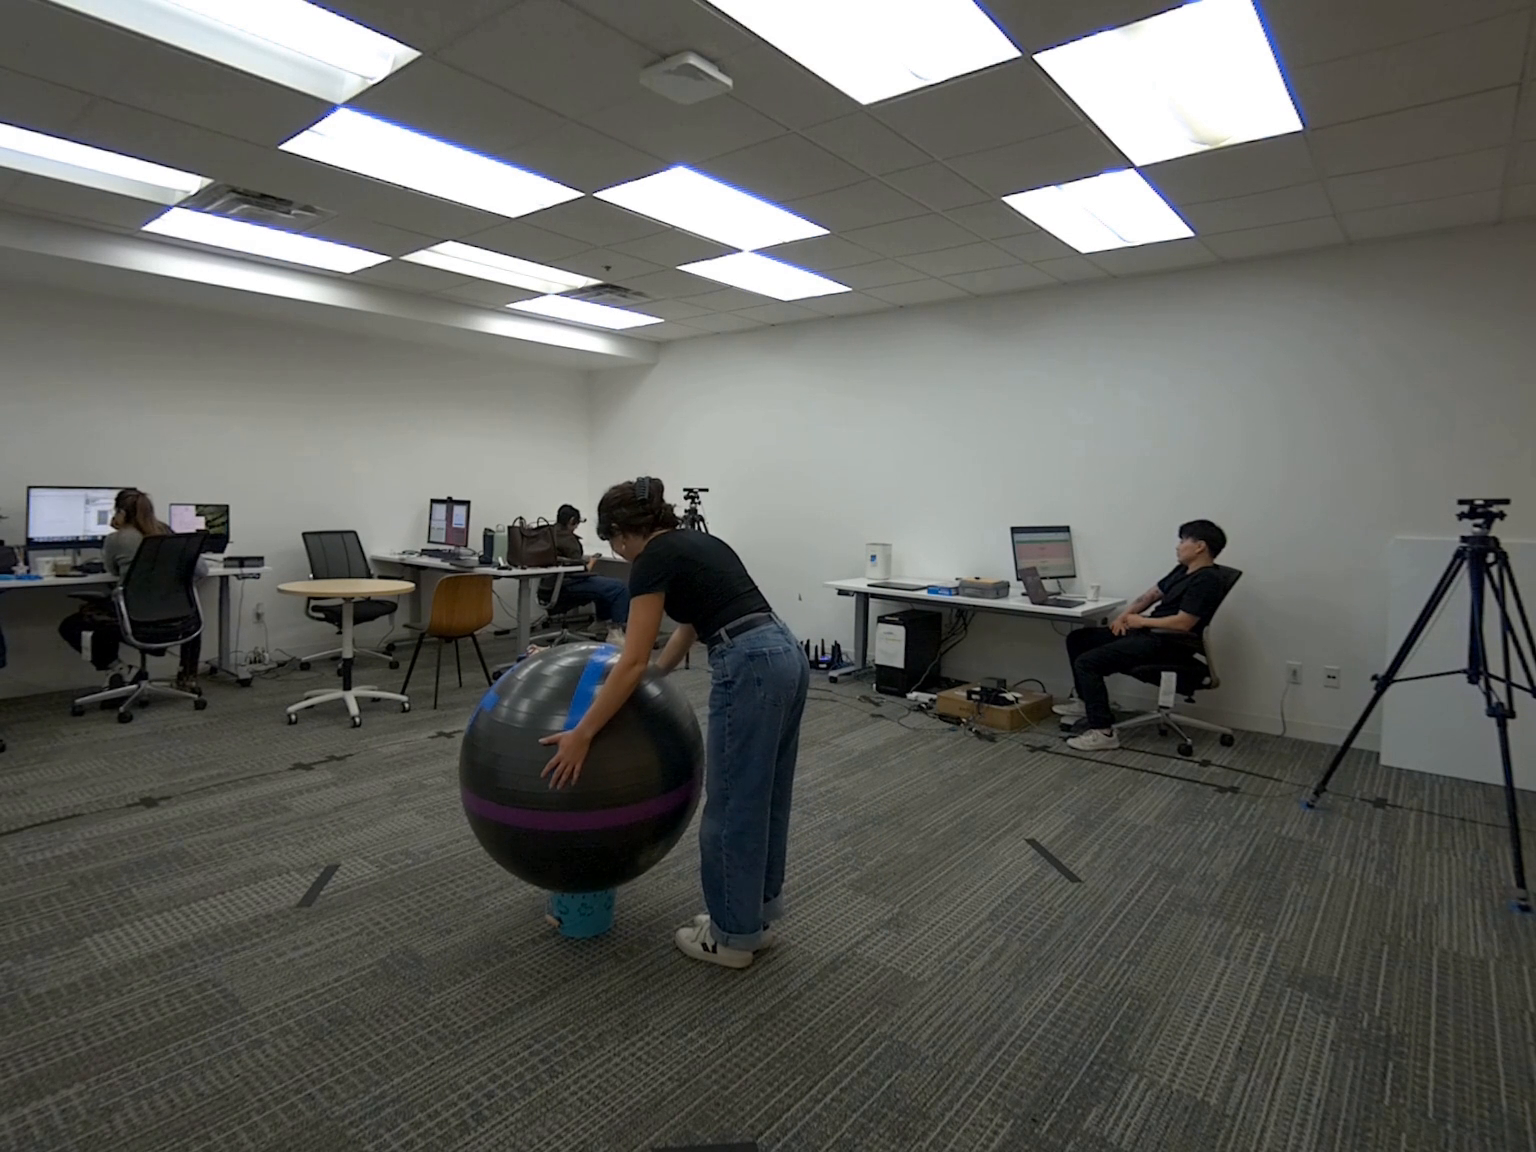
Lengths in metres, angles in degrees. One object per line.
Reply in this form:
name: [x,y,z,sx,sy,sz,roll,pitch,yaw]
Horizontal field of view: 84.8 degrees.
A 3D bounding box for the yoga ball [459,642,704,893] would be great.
yoga ball: [-0.586,0.589,2.676,0.757,0.755,0.762,1,4,-2]
